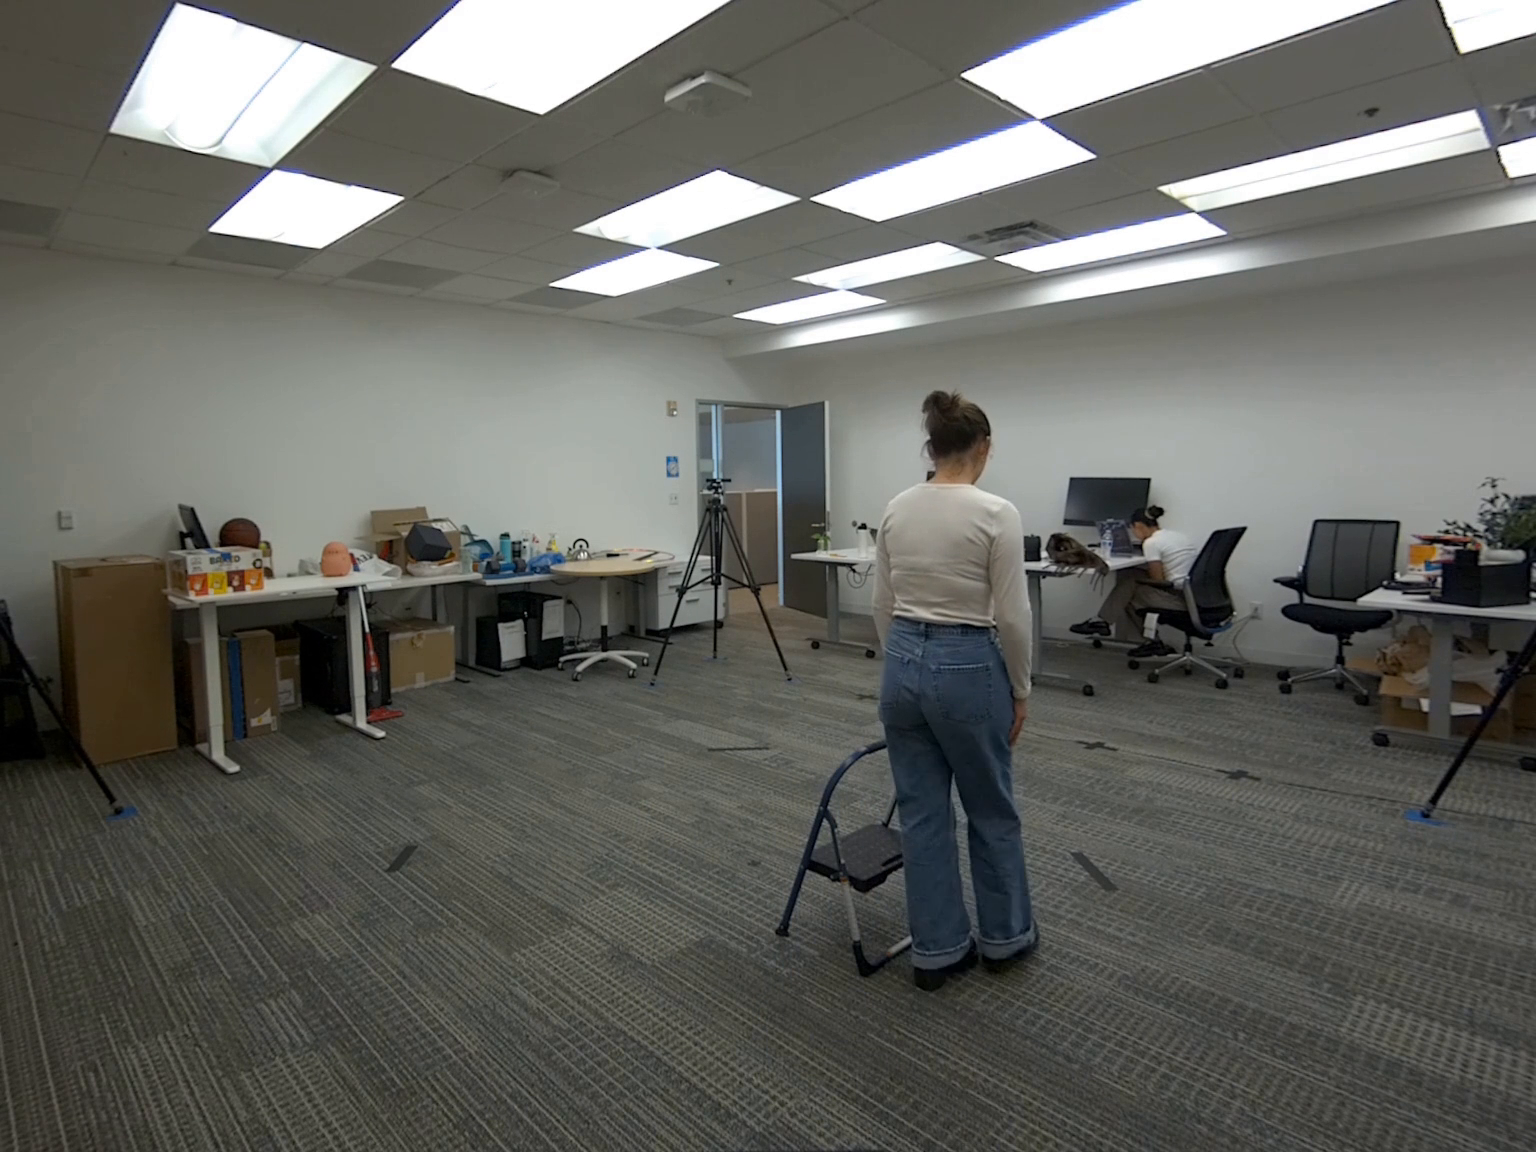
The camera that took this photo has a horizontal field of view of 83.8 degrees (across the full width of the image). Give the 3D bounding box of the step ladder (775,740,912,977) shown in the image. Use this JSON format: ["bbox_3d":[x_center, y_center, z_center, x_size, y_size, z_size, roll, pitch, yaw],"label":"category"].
[{"bbox_3d":[0.288,0.793,2.628,0.419,0.604,0.360,-5,6,-44],"label":"step ladder"}]
